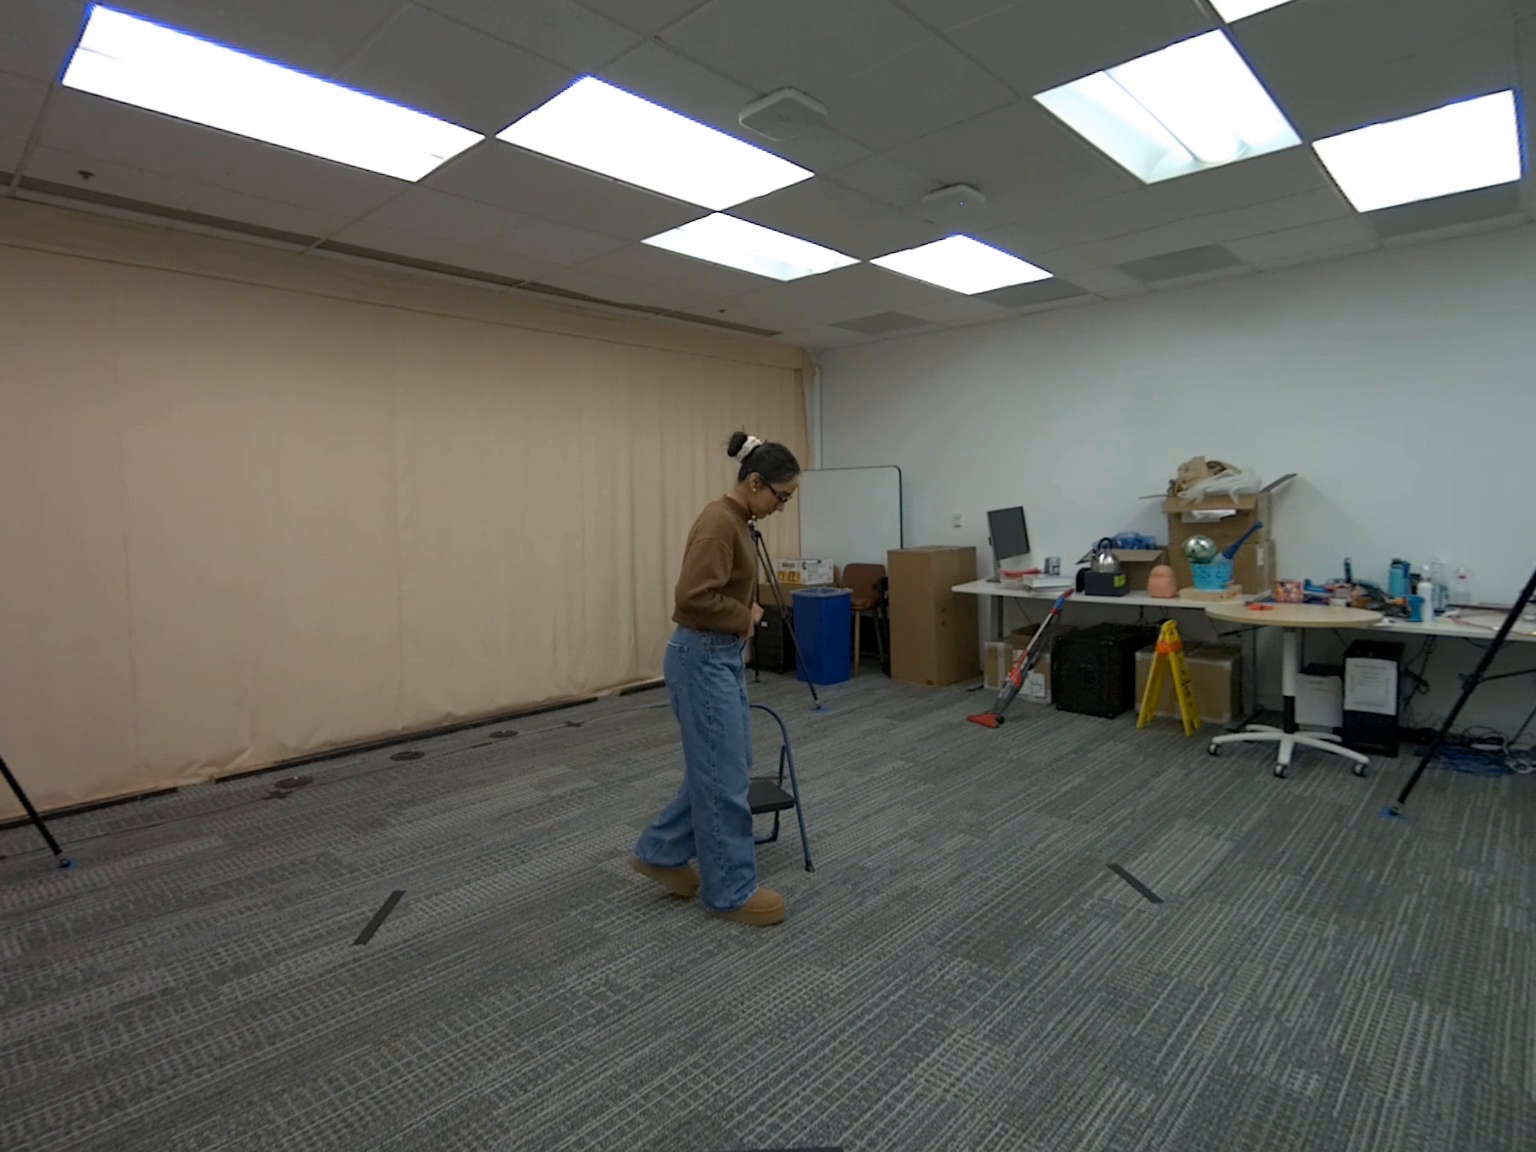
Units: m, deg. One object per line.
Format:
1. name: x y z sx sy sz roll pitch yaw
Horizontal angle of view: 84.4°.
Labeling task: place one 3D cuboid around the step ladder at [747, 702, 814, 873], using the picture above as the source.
1. step ladder: -0.083 0.815 3.261 0.421 0.605 0.358 -2 4 -23
